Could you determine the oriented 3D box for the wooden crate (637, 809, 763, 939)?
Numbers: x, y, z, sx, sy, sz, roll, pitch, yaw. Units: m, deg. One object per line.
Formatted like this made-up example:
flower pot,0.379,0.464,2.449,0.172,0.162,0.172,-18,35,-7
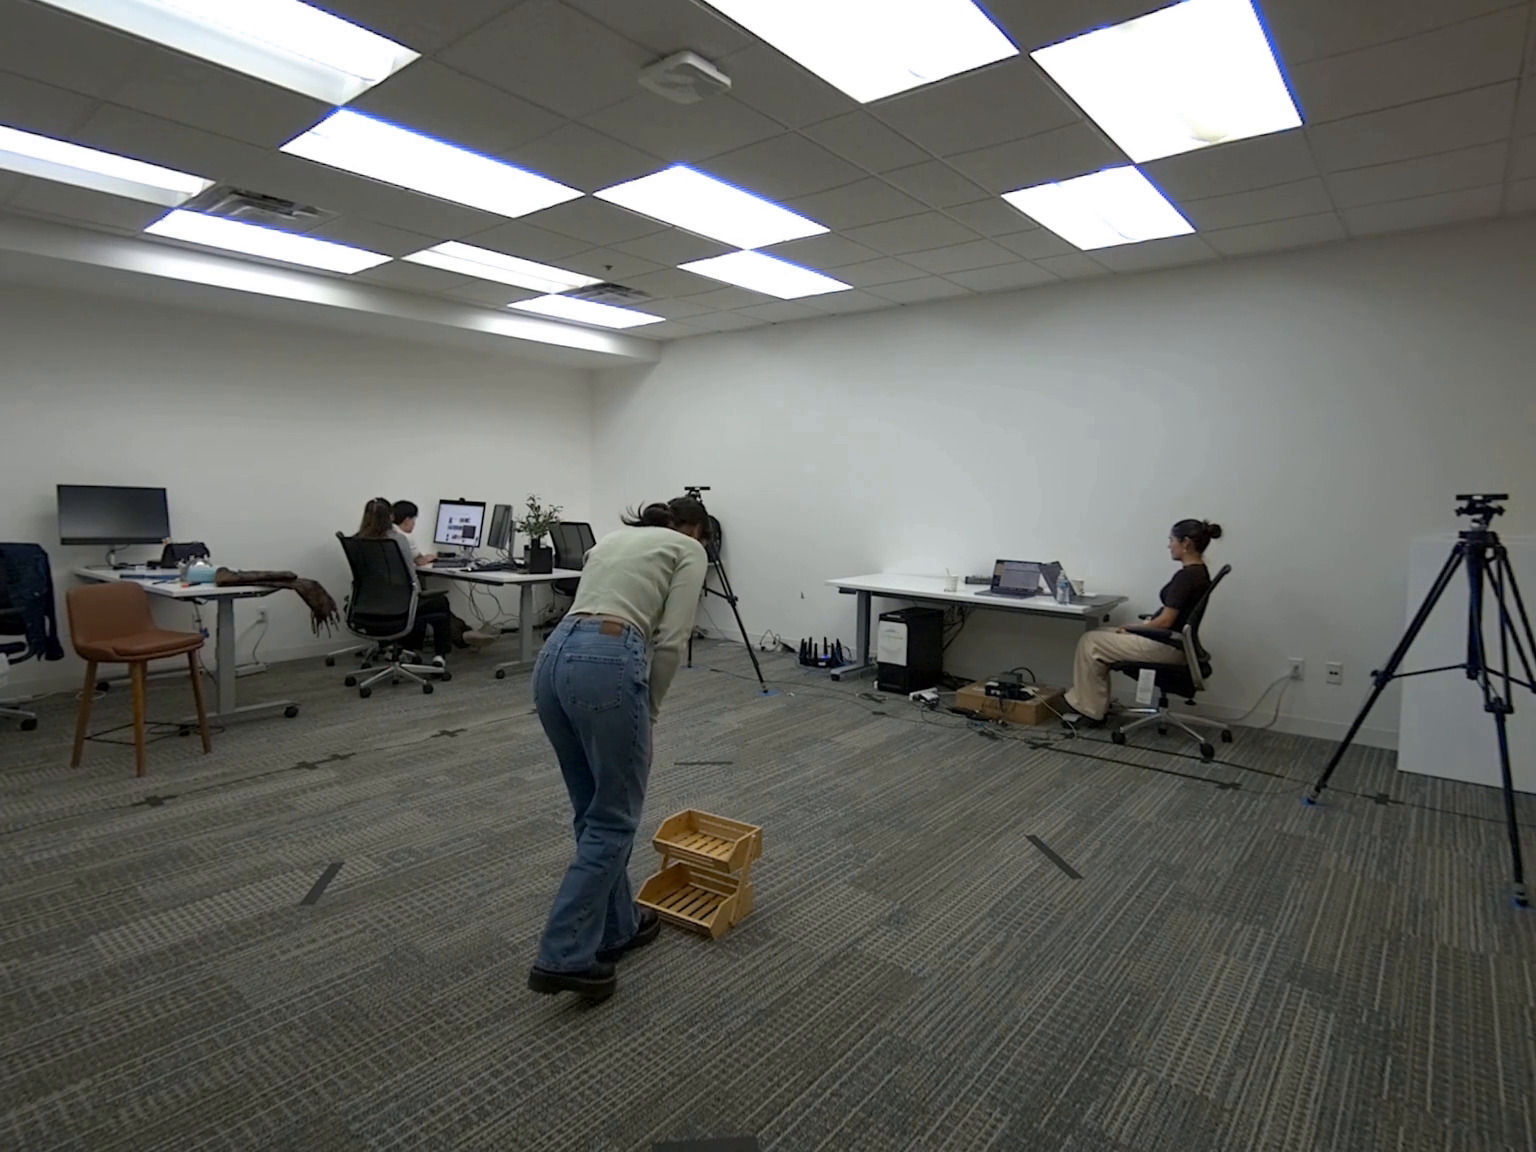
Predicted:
wooden crate,-0.236,0.962,2.792,0.334,0.273,0.294,3,4,31
